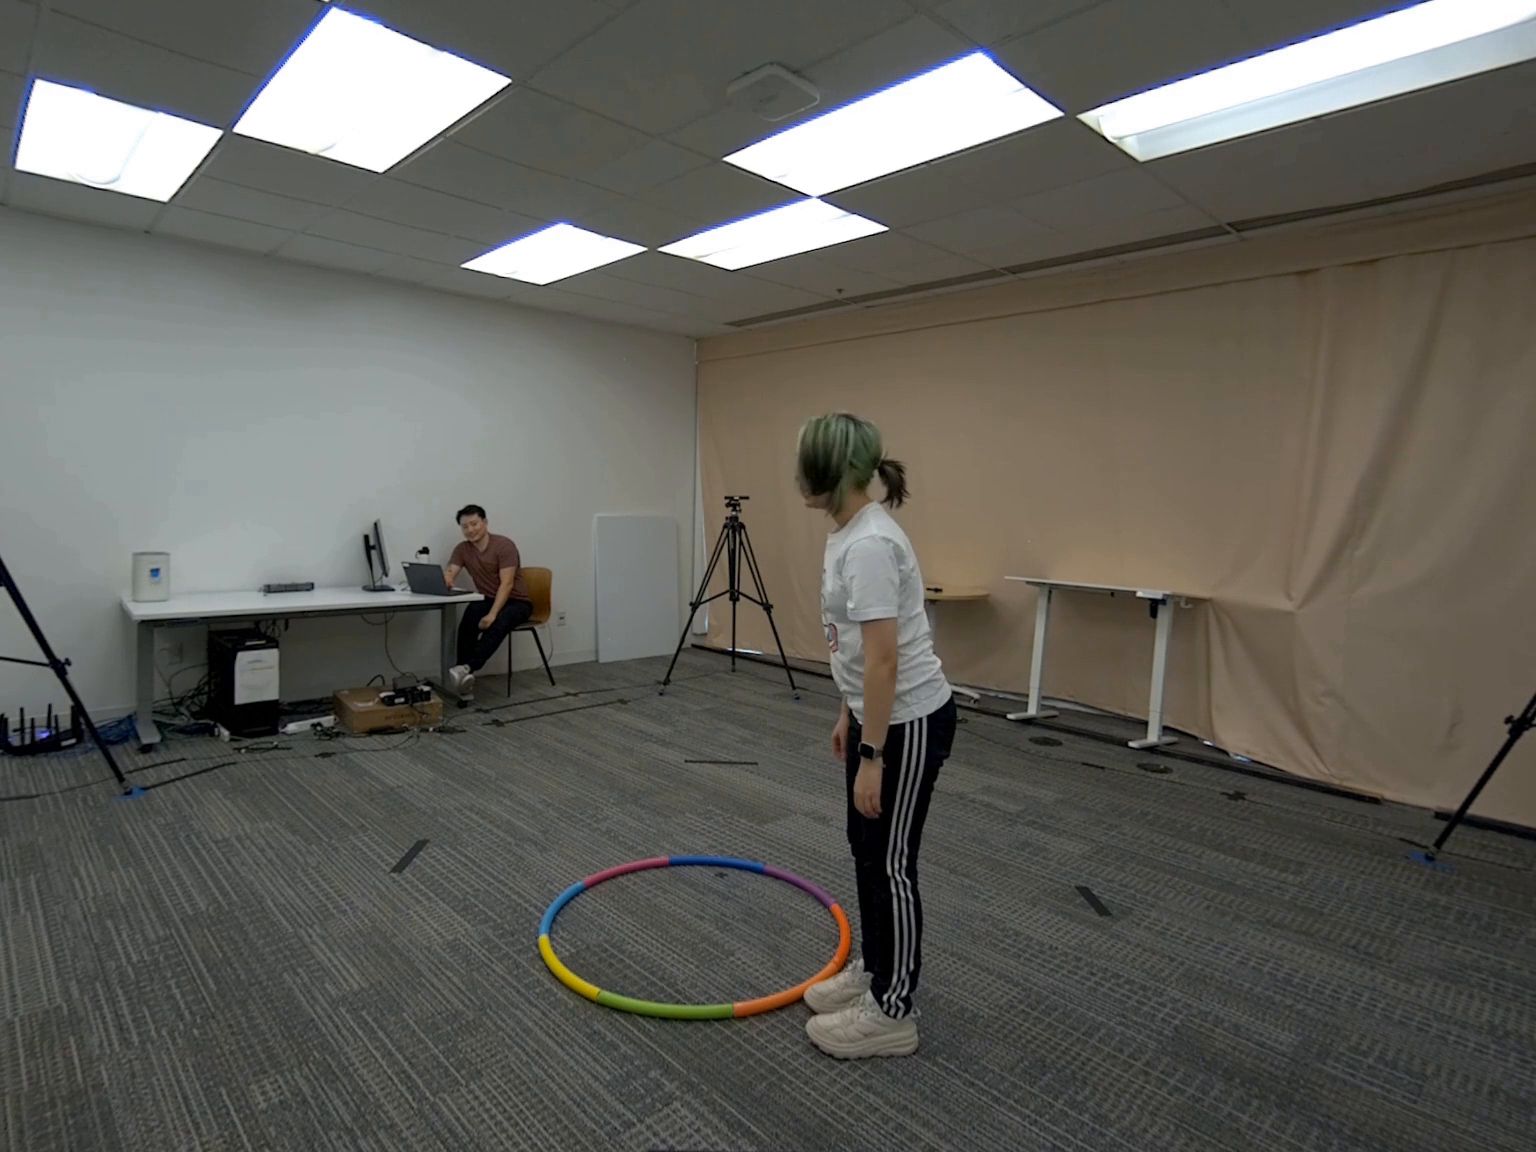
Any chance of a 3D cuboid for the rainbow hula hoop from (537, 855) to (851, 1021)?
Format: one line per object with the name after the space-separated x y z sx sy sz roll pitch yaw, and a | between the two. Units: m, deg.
-0.236 1.110 2.716 0.978 0.035 0.982 1 5 -1 | rainbow hula hoop
